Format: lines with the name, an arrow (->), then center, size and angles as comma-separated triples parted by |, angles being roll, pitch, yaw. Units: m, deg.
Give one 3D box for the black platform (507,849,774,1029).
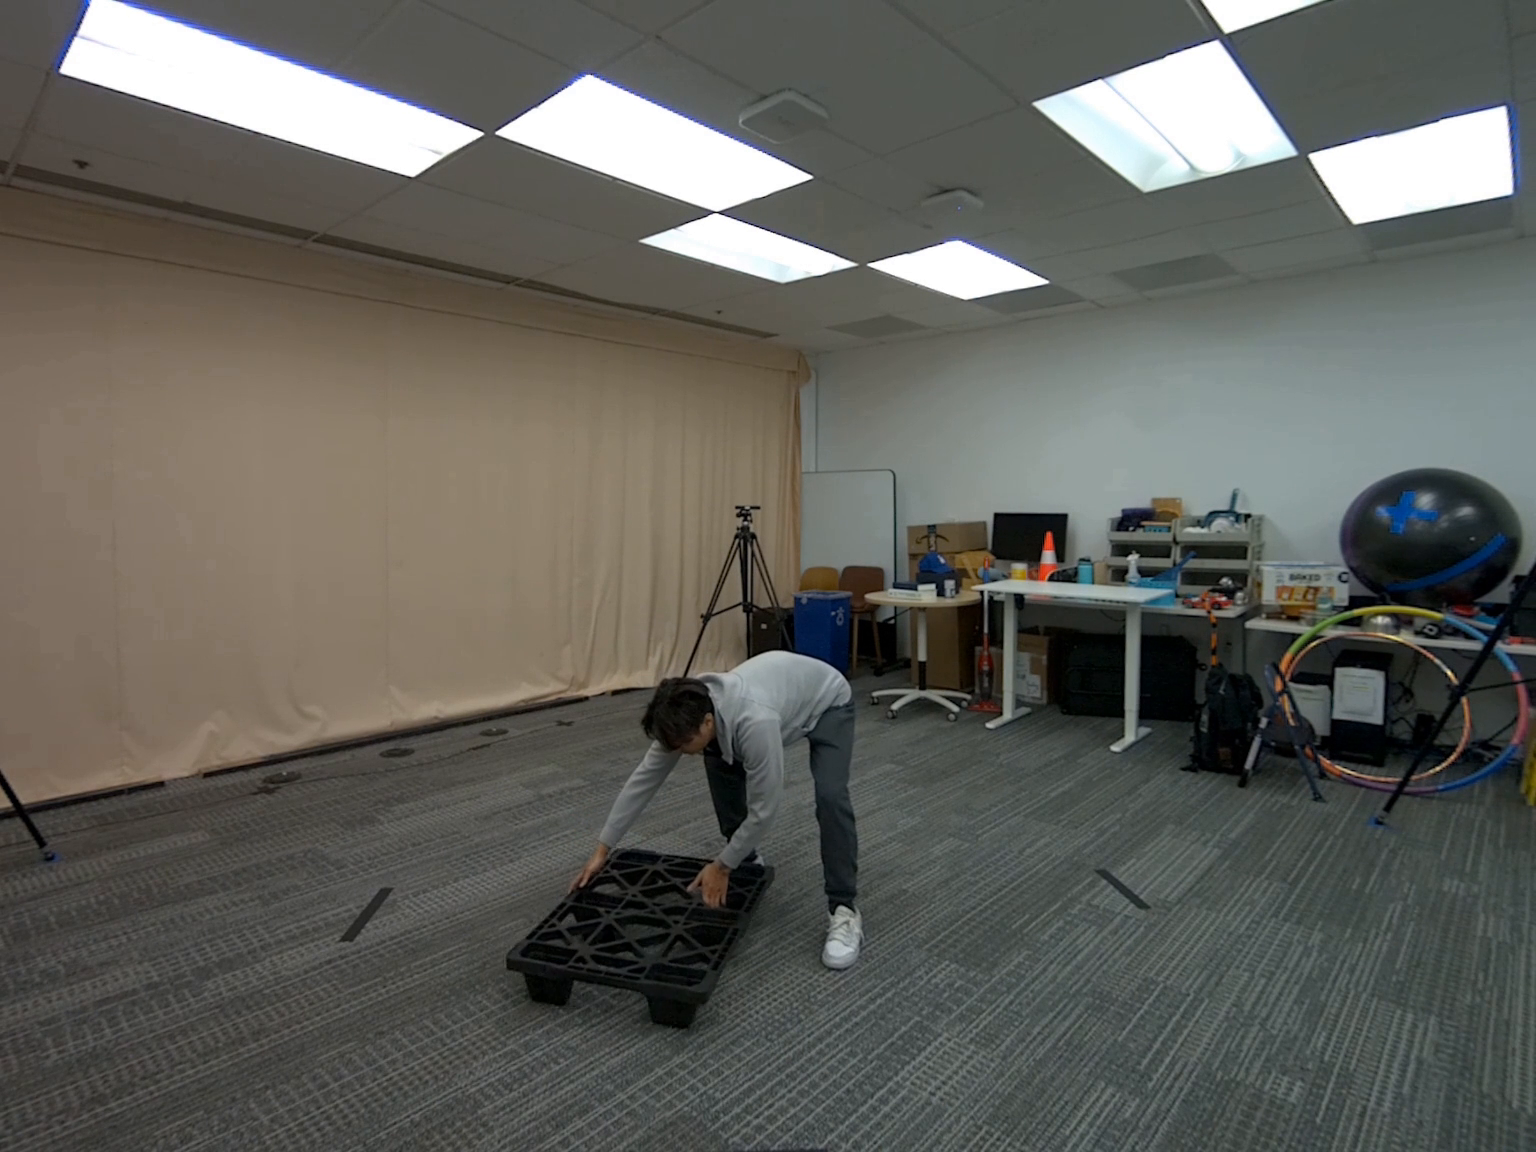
black platform -> -0.352, 1.104, 2.655 | 0.616, 0.143, 0.794 | 1, 5, 15
